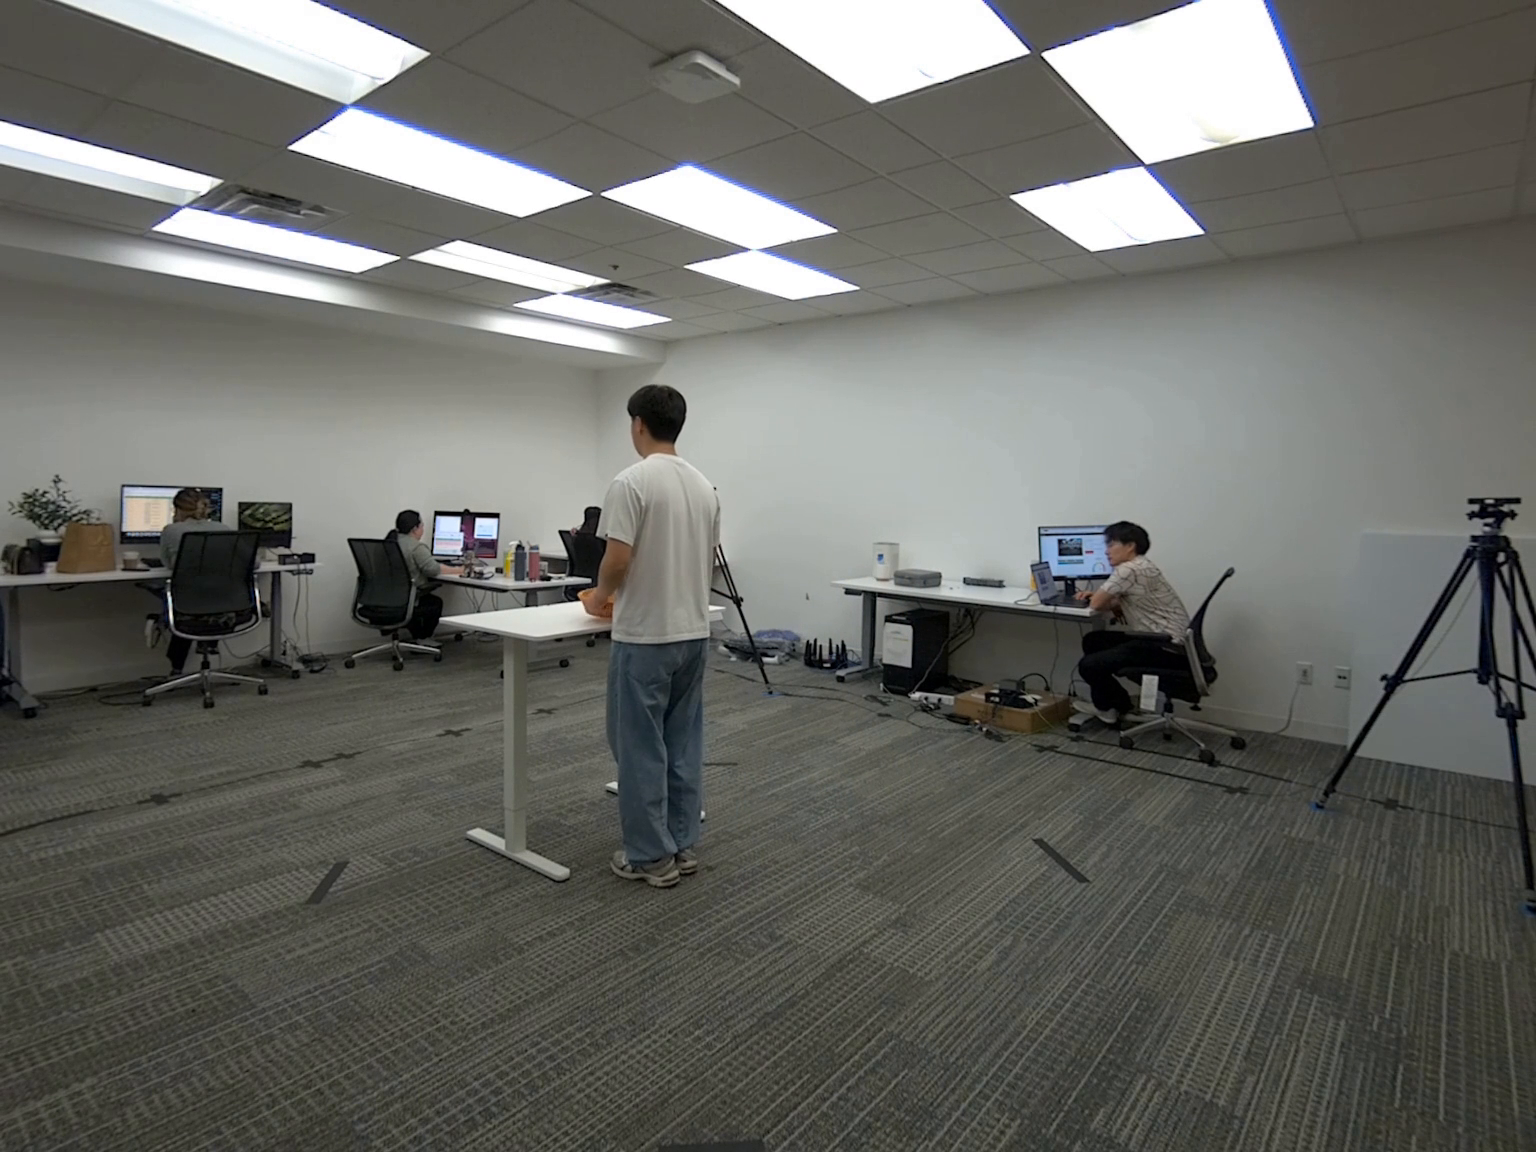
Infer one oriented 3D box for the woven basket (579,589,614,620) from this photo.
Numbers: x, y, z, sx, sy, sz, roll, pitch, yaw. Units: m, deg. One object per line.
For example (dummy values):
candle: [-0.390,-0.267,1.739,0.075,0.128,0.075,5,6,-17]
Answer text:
woven basket: [-0.591,0.103,3.285,0.260,0.073,0.342,10,9,28]
